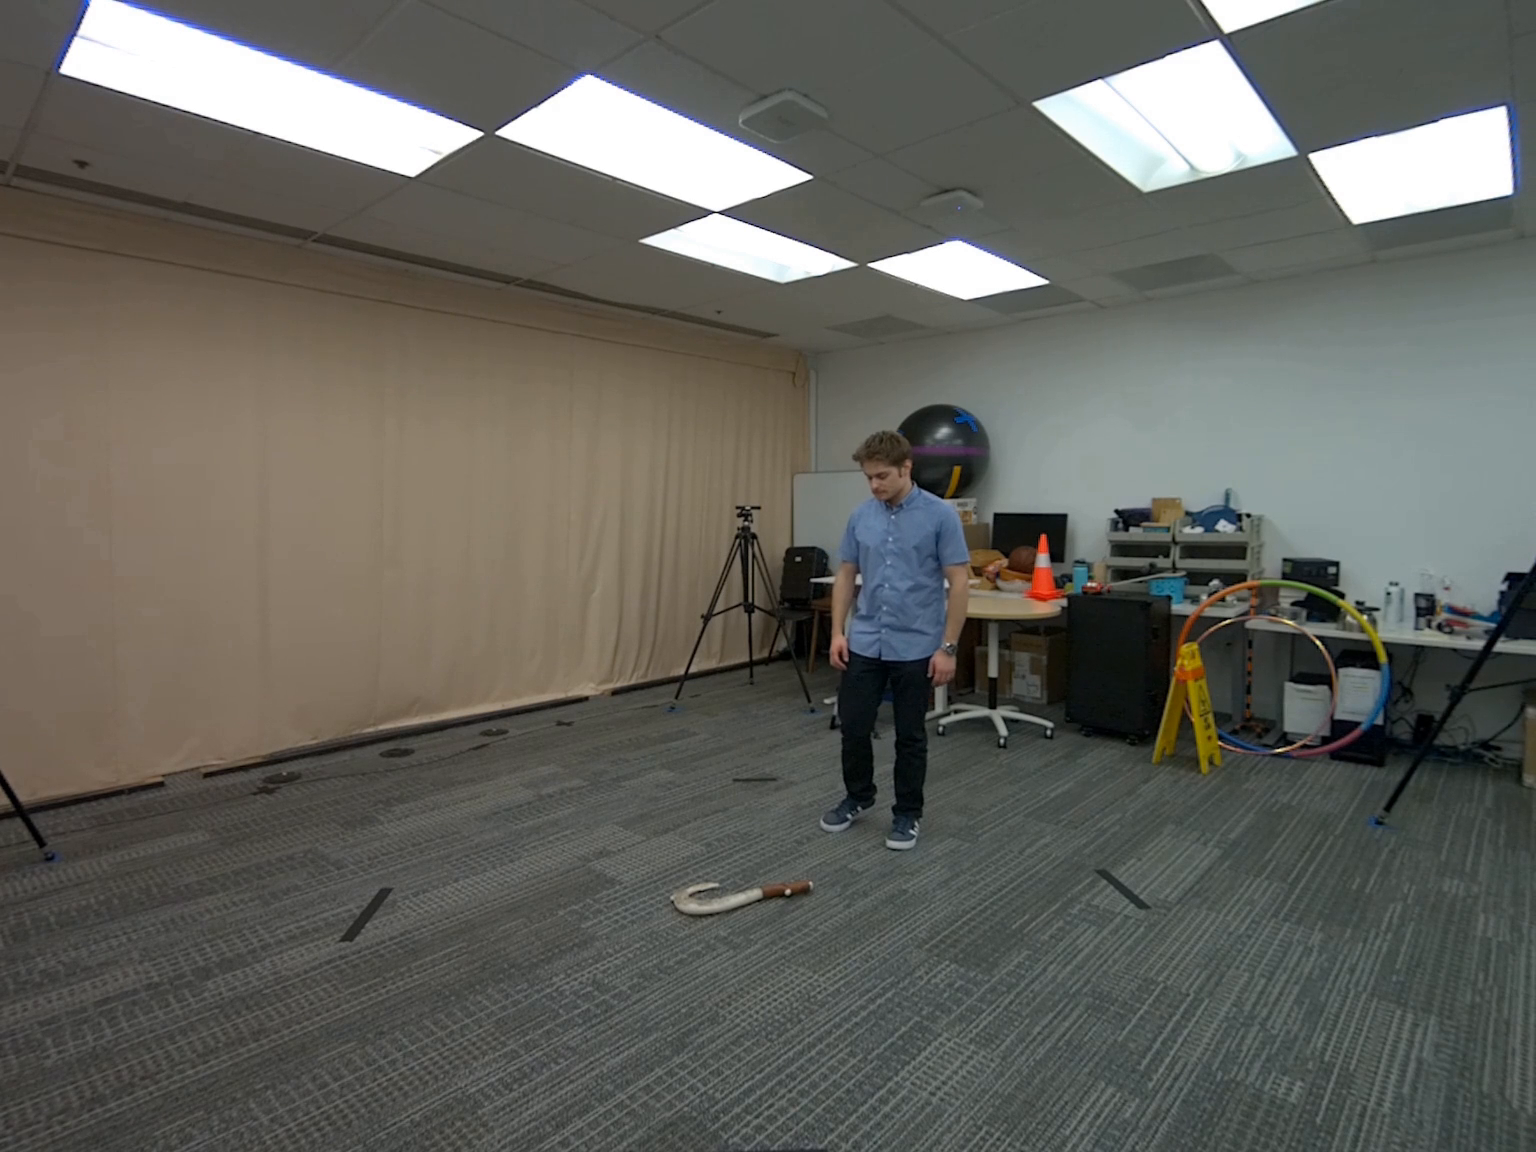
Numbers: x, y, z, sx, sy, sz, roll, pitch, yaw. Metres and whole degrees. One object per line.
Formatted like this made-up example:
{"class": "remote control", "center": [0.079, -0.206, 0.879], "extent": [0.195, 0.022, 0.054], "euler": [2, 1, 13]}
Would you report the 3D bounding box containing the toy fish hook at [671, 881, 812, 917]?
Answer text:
{"class": "toy fish hook", "center": [-0.088, 1.120, 2.997], "extent": [0.496, 0.048, 0.230], "euler": [-1, 5, -20]}
